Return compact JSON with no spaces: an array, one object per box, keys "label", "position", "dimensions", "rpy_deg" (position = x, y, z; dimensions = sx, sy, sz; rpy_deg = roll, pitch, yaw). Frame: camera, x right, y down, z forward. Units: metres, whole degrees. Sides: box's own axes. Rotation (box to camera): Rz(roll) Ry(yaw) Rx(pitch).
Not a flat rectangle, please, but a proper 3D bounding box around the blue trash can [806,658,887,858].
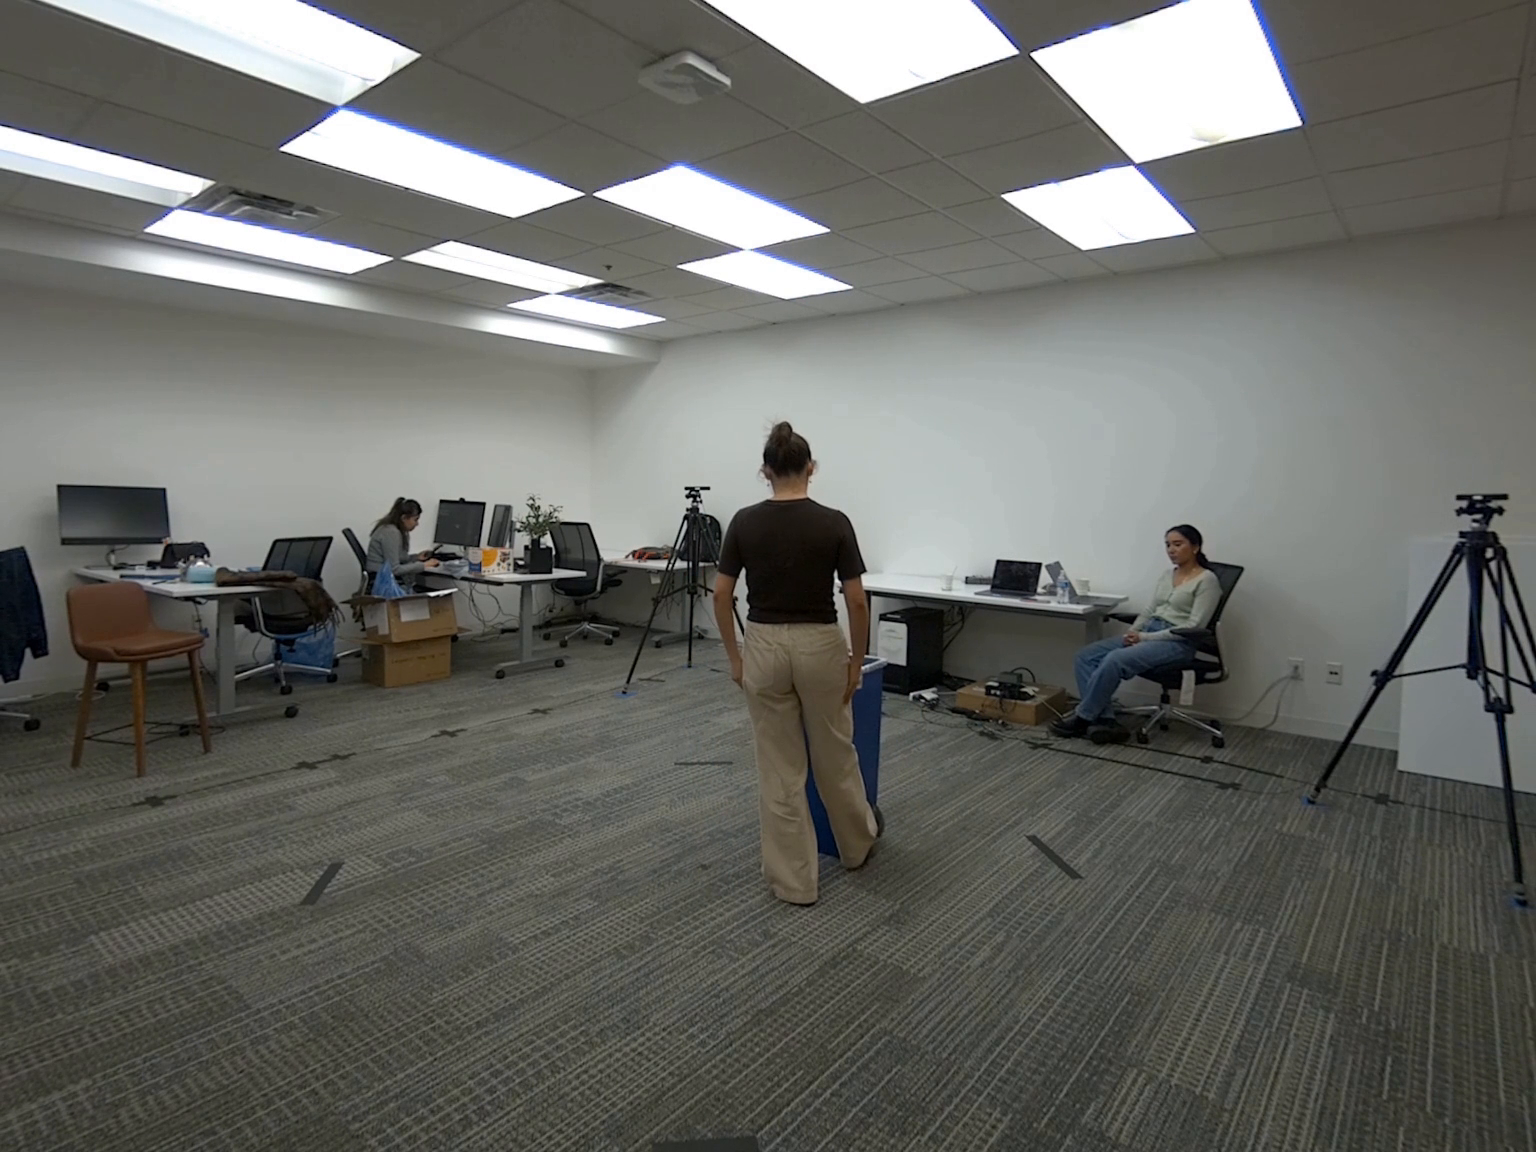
[{"label":"blue trash can","position":[0.226,0.679,3.405],"dimensions":[0.390,0.711,0.364],"rpy_deg":[2,4,33]}]
